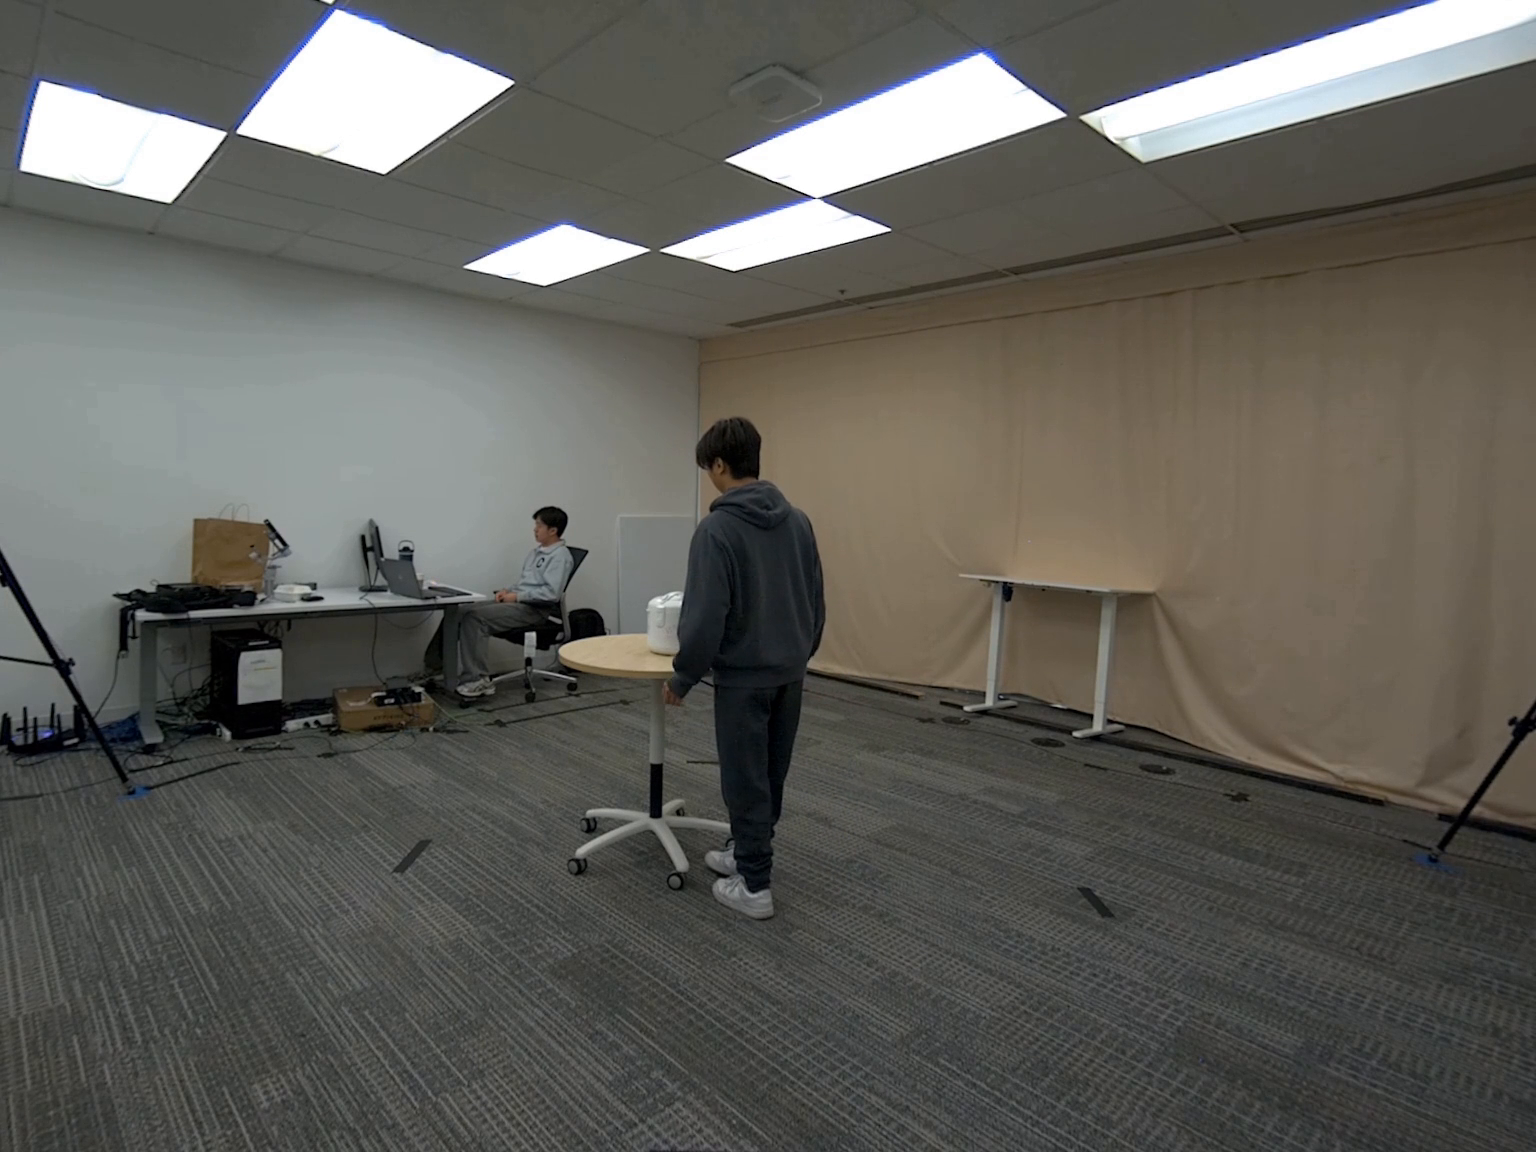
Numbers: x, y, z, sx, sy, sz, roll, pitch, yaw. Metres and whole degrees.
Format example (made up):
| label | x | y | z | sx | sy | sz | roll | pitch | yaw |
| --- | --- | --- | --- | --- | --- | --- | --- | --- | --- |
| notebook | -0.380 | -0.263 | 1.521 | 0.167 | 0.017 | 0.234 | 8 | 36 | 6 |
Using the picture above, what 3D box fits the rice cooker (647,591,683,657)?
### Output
| label | x | y | z | sx | sy | sz | roll | pitch | yaw |
| --- | --- | --- | --- | --- | --- | --- | --- | --- | --- |
| rice cooker | -0.366 | 0.178 | 3.234 | 0.222 | 0.232 | 0.216 | 4 | 4 | 29 |
